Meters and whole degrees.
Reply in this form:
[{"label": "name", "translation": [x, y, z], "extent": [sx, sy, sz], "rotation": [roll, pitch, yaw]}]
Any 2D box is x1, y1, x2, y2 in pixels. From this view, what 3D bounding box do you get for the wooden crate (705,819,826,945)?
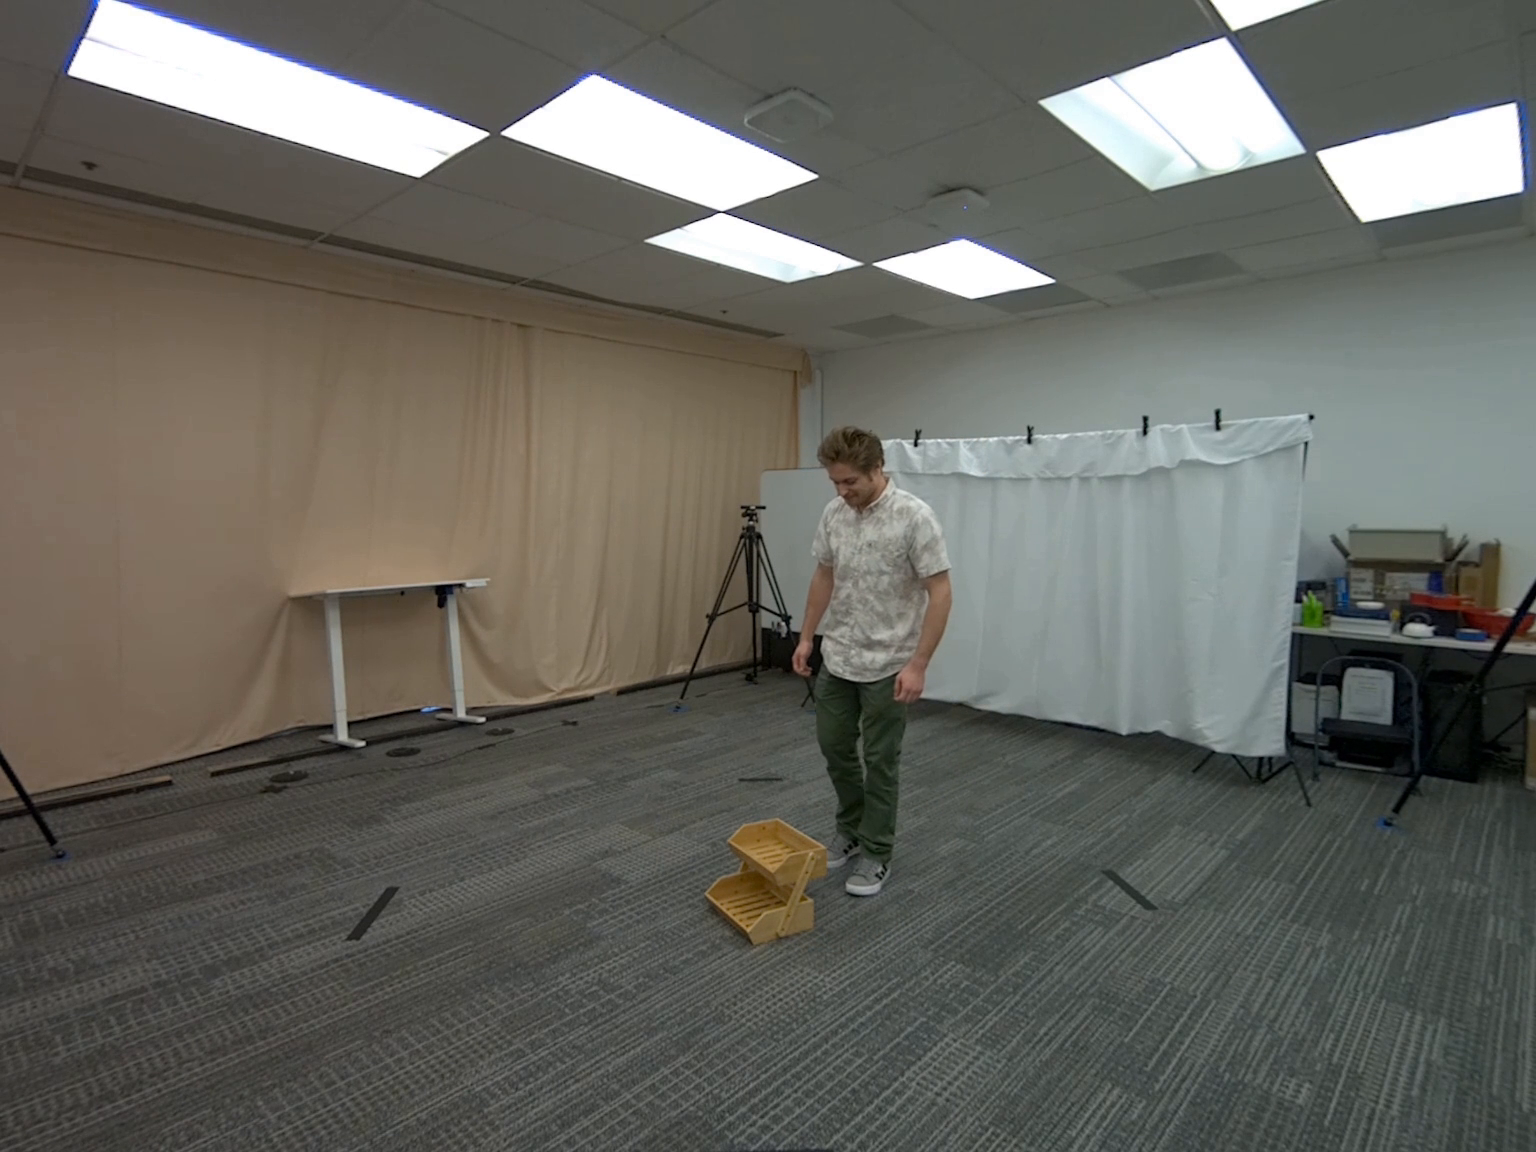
[{"label": "wooden crate", "translation": [-0.012, 1.024, 2.852], "extent": [0.294, 0.273, 0.334], "rotation": [-2, 4, -31]}]
